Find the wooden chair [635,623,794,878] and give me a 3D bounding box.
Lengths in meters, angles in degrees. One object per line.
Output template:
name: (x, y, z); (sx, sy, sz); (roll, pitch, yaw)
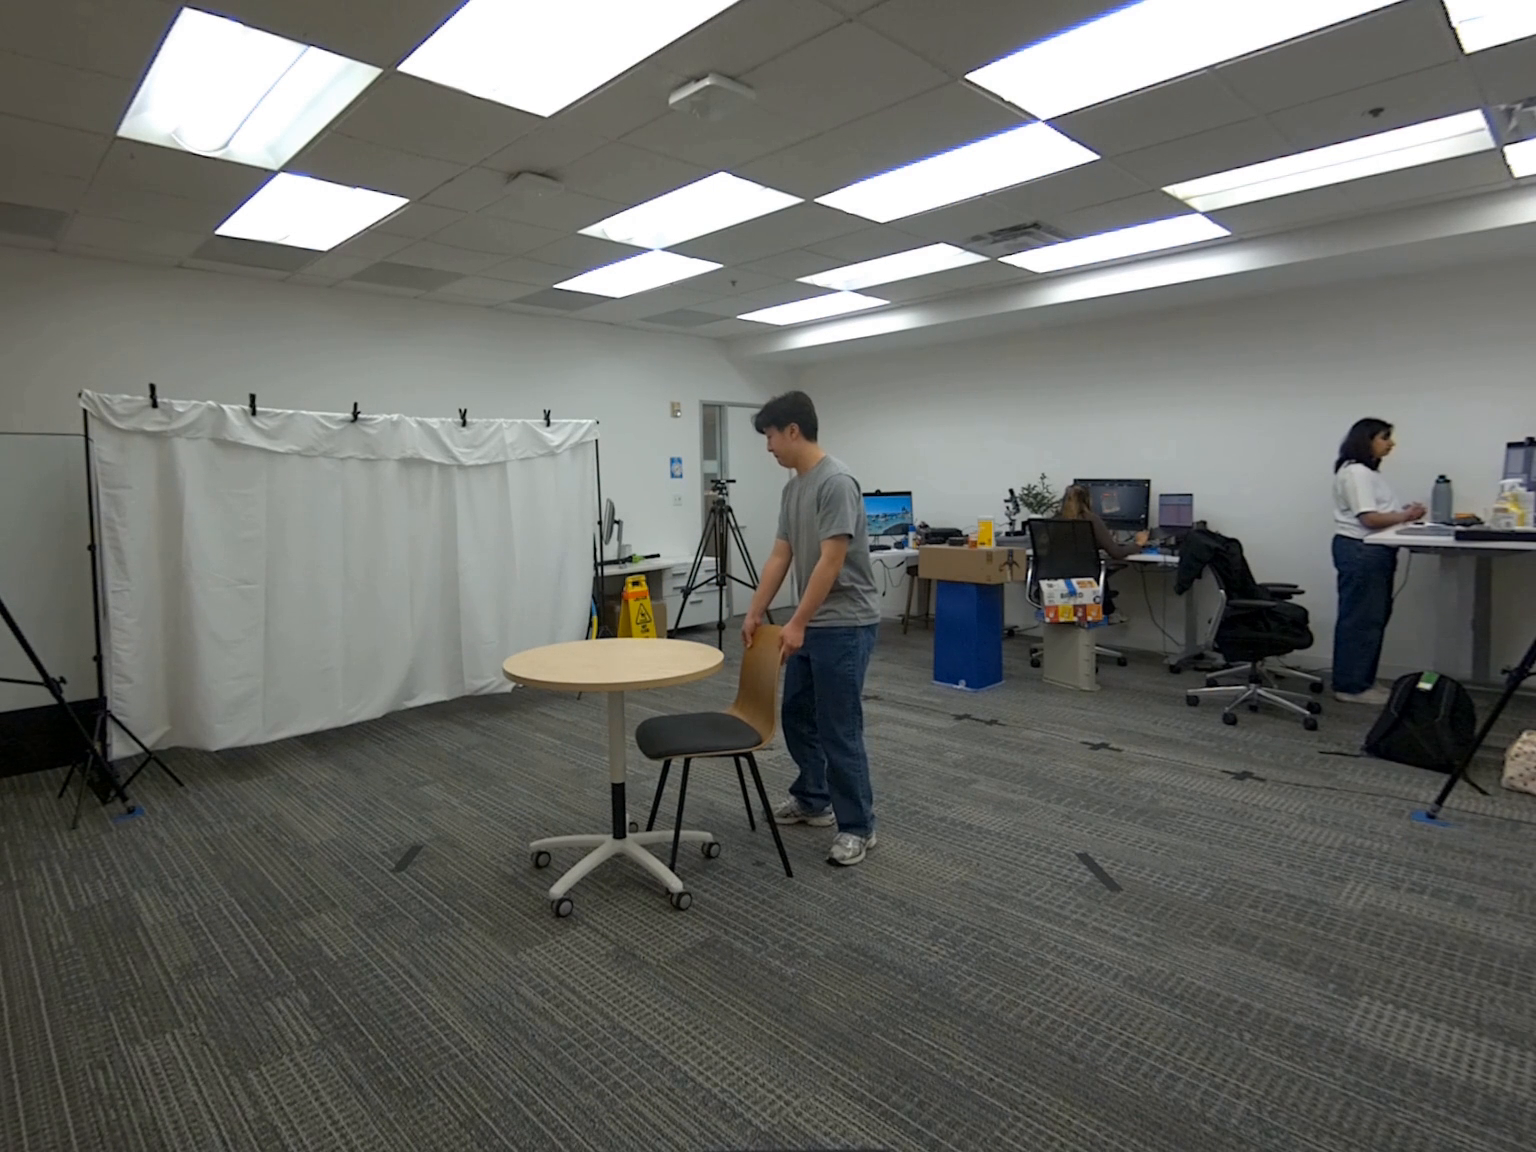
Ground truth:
wooden chair: (-0.203, 0.618, 3.117); (0.514, 0.876, 0.487); (2, 3, -18)
